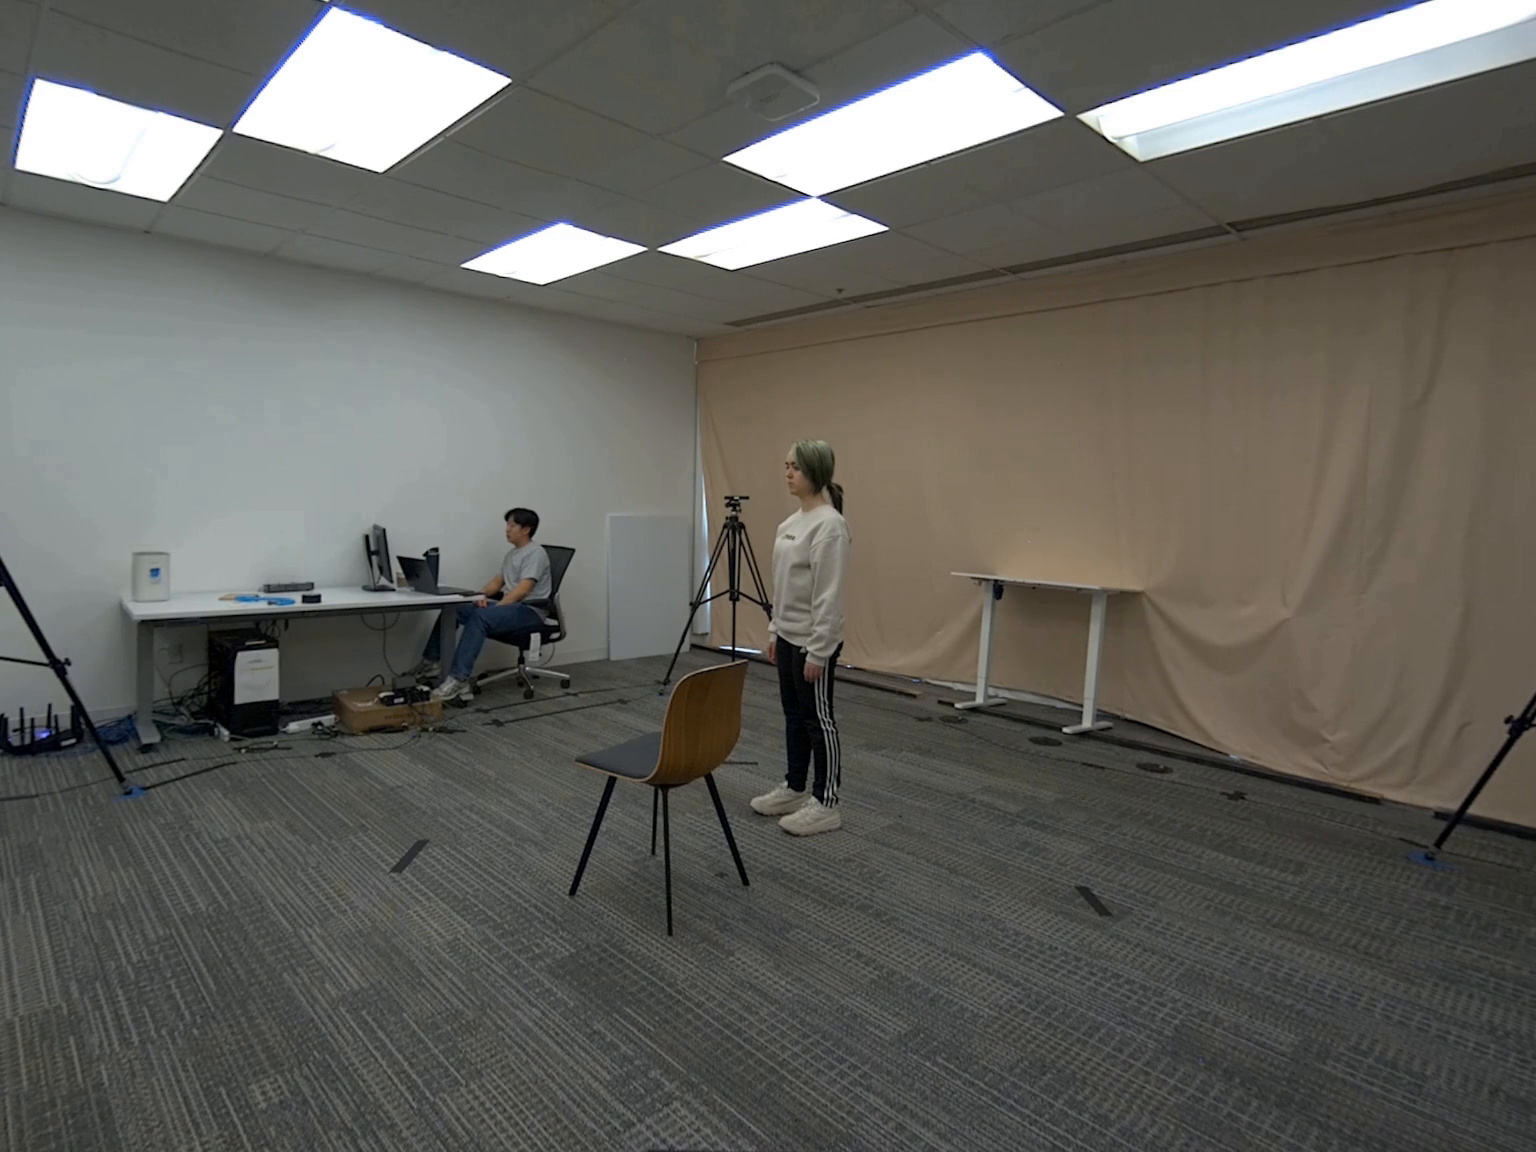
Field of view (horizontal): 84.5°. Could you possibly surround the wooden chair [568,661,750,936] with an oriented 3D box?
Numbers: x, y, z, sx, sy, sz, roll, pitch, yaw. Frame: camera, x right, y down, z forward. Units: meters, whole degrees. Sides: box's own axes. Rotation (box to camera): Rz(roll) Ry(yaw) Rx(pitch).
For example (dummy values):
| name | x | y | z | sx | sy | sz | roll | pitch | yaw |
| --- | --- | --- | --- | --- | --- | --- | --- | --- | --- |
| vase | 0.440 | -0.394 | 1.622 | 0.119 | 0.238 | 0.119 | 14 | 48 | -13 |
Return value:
| name | x | y | z | sx | sy | sz | roll | pitch | yaw |
| --- | --- | --- | --- | --- | --- | --- | --- | --- | --- |
| wooden chair | -0.380 | 0.685 | 2.944 | 0.536 | 0.874 | 0.468 | 9 | 7 | 34 |
